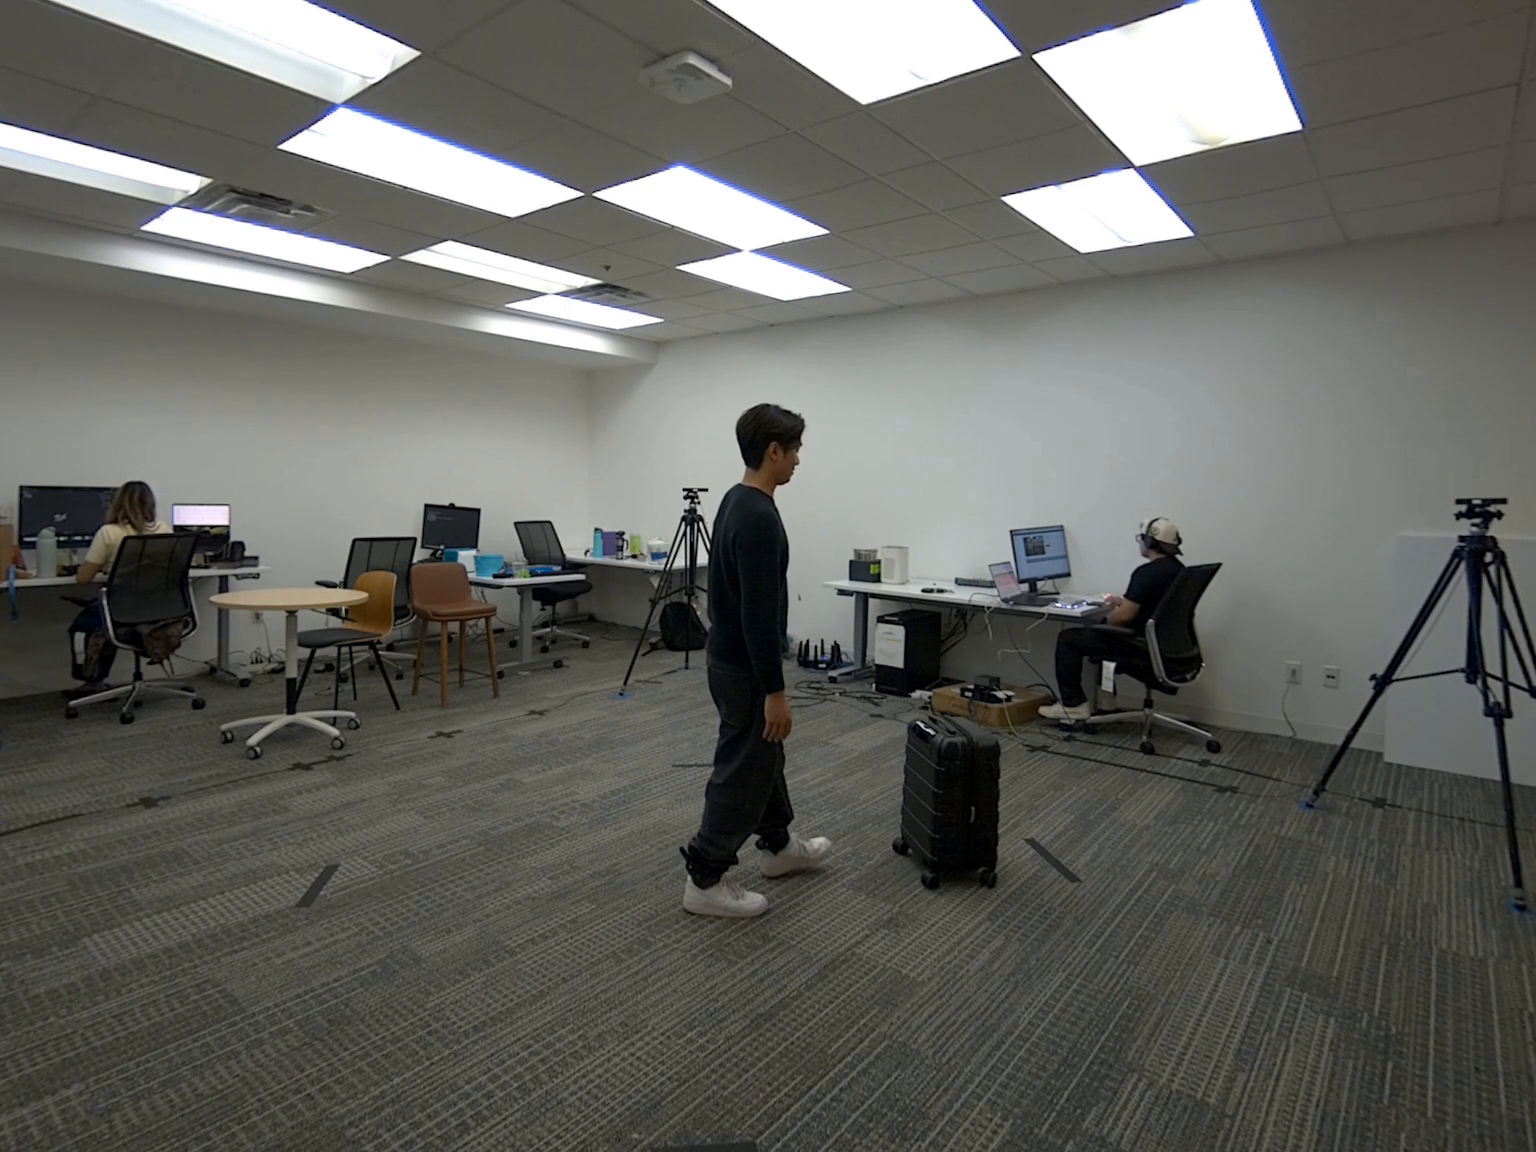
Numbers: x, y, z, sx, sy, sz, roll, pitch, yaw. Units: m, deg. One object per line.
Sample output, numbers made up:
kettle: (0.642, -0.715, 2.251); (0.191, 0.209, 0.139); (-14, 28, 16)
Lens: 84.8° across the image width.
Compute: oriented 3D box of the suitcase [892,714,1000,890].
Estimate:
suitcase: (0.664, 0.807, 3.166); (0.246, 0.548, 0.380); (1, 3, -10)
